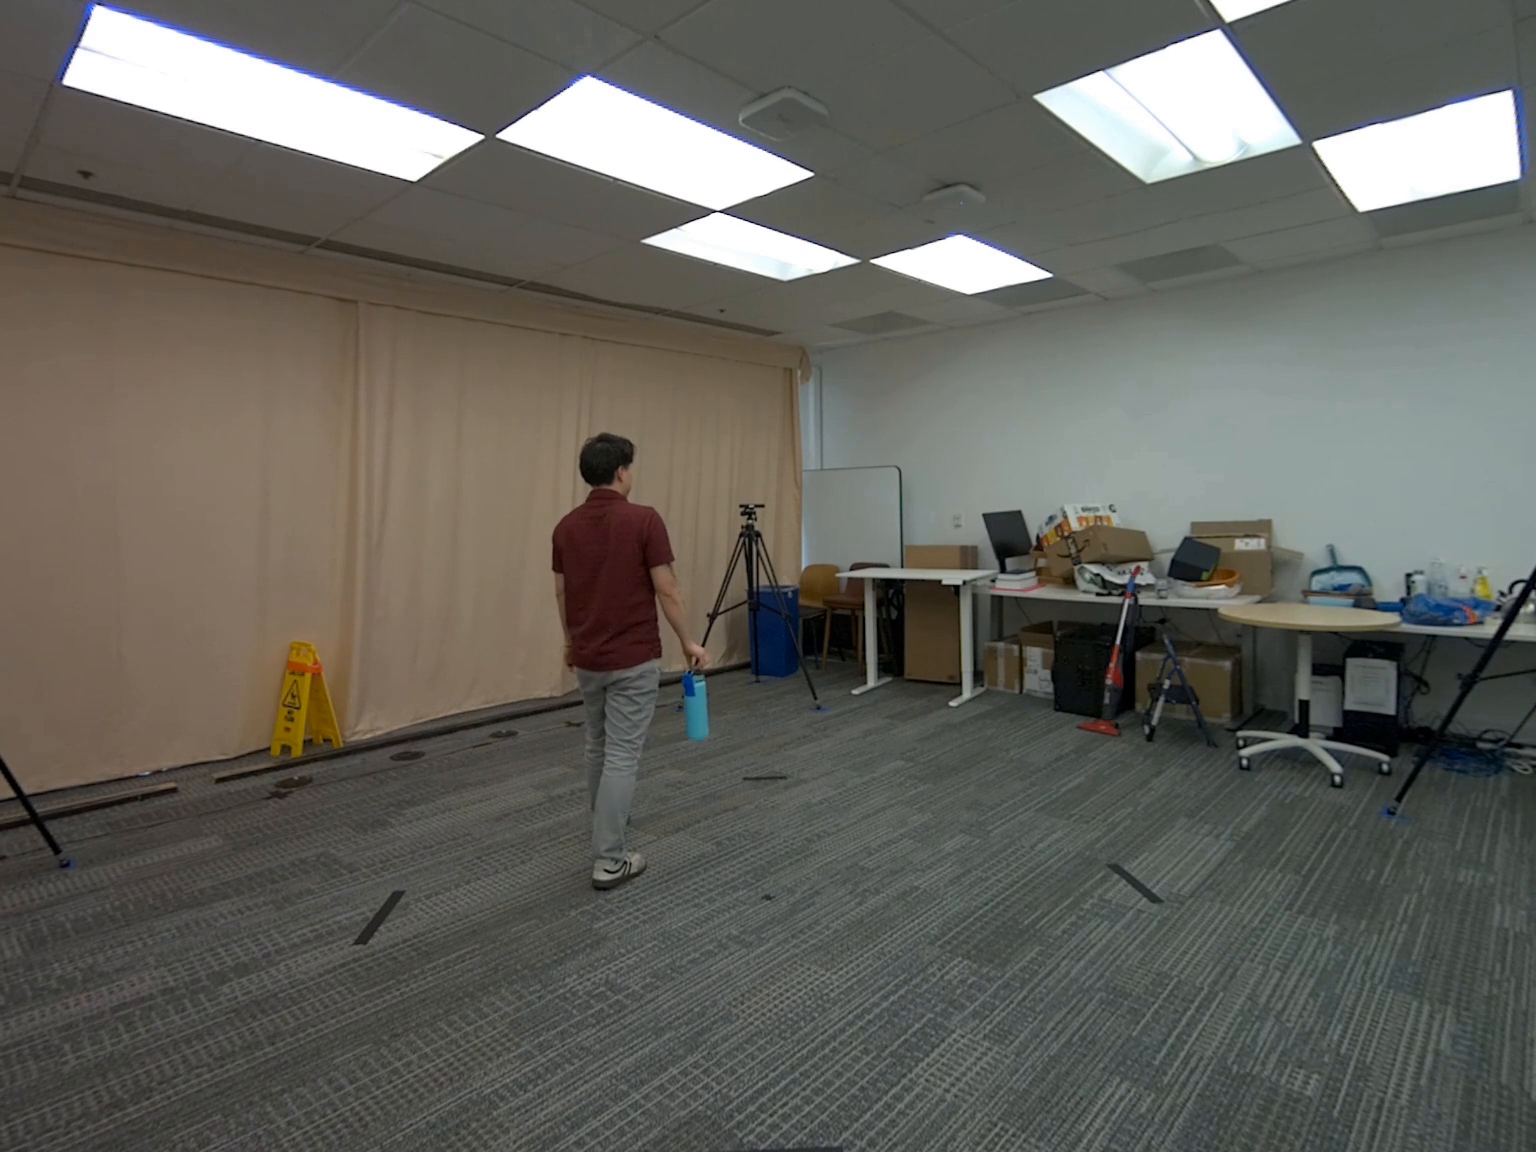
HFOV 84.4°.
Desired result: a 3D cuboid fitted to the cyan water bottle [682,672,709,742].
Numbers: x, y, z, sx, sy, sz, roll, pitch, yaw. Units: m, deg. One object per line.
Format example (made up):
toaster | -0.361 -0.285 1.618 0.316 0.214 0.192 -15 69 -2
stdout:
cyan water bottle | -0.291 0.496 3.322 0.092 0.282 0.093 -3 7 -1
